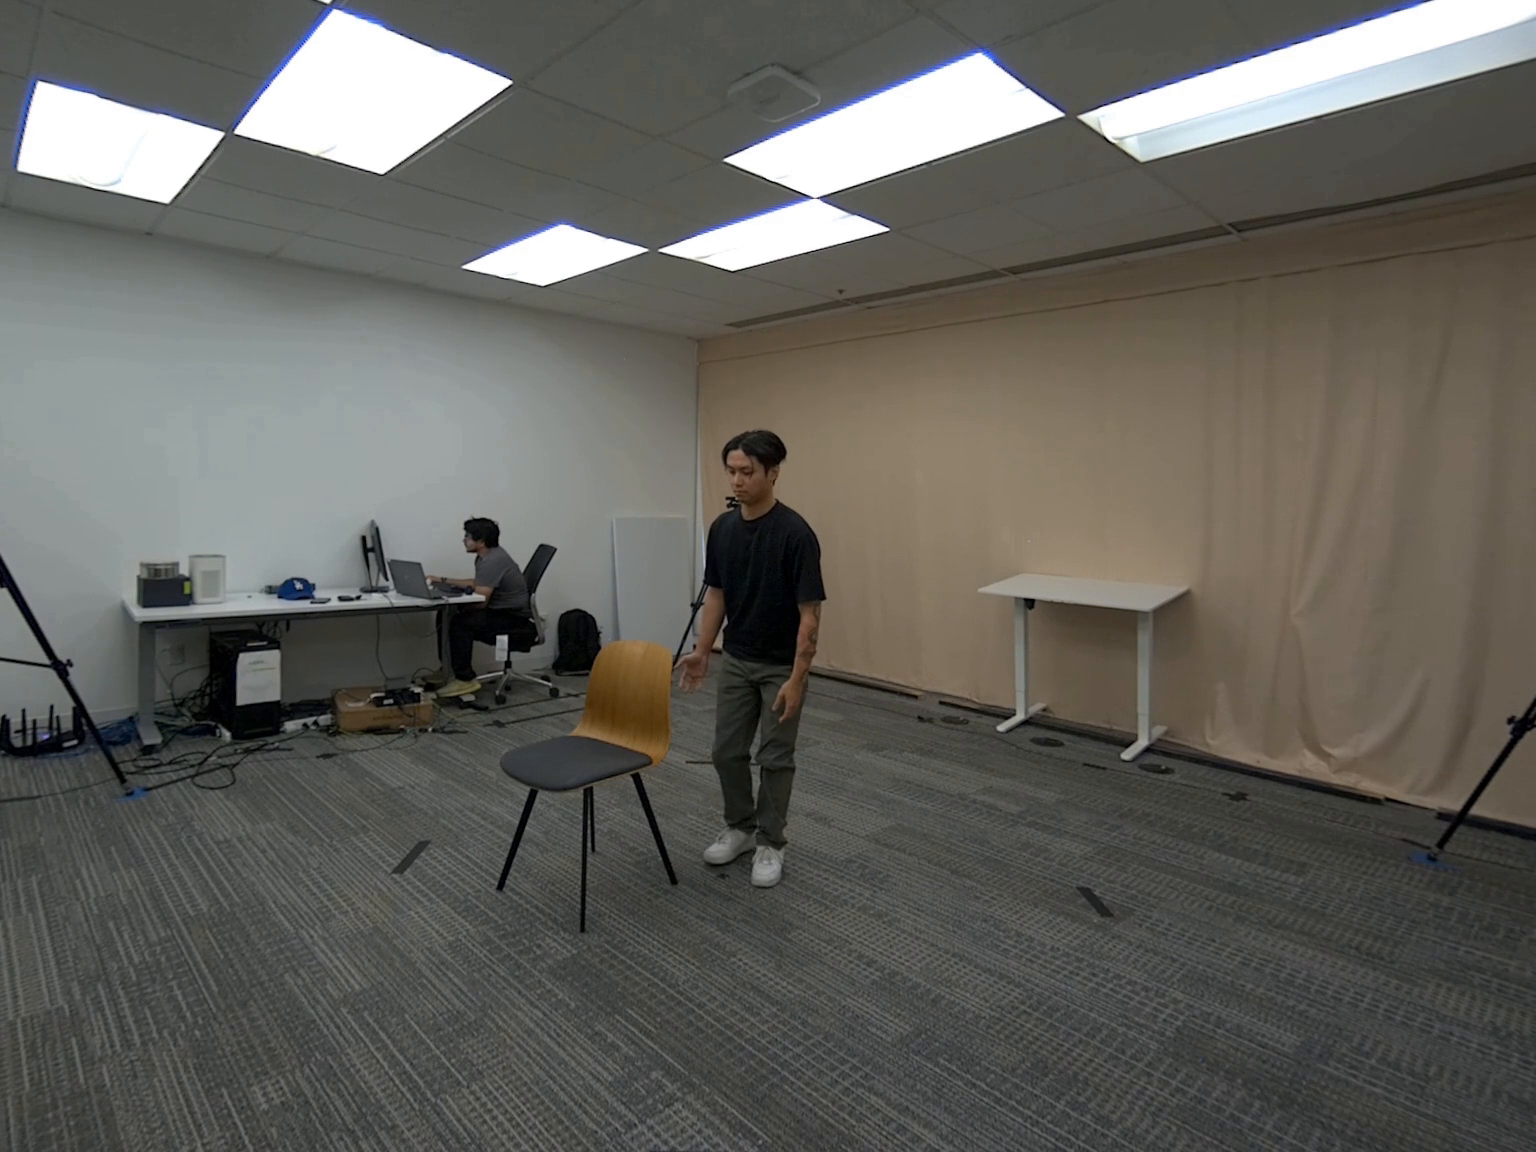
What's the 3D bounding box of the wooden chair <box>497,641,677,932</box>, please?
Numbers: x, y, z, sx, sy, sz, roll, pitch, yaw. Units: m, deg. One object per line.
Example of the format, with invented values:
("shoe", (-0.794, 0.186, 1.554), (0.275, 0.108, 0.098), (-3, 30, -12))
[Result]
("wooden chair", (-0.638, 0.685, 2.946), (0.490, 0.877, 0.510), (4, 0, 37))
